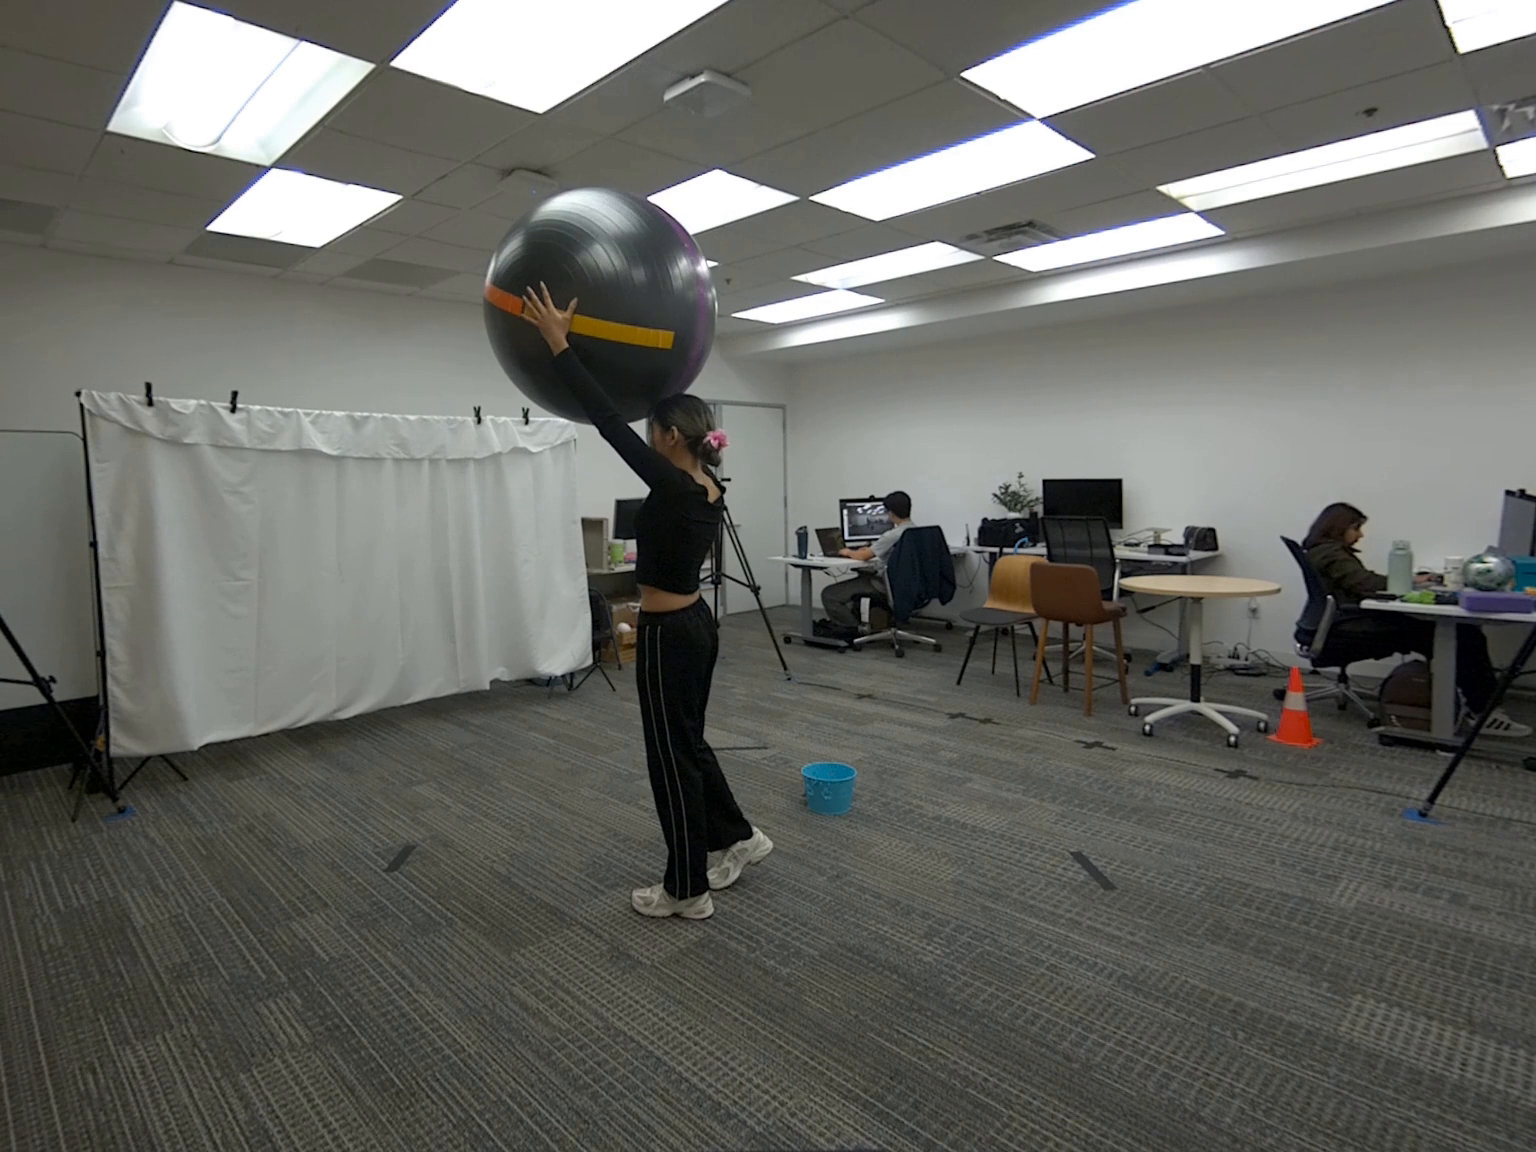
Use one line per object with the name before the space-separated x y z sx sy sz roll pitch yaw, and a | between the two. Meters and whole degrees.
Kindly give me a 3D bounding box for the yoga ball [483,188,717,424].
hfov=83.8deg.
yoga ball | -0.549 -0.868 2.815 0.757 0.755 0.762 -1 5 -2
